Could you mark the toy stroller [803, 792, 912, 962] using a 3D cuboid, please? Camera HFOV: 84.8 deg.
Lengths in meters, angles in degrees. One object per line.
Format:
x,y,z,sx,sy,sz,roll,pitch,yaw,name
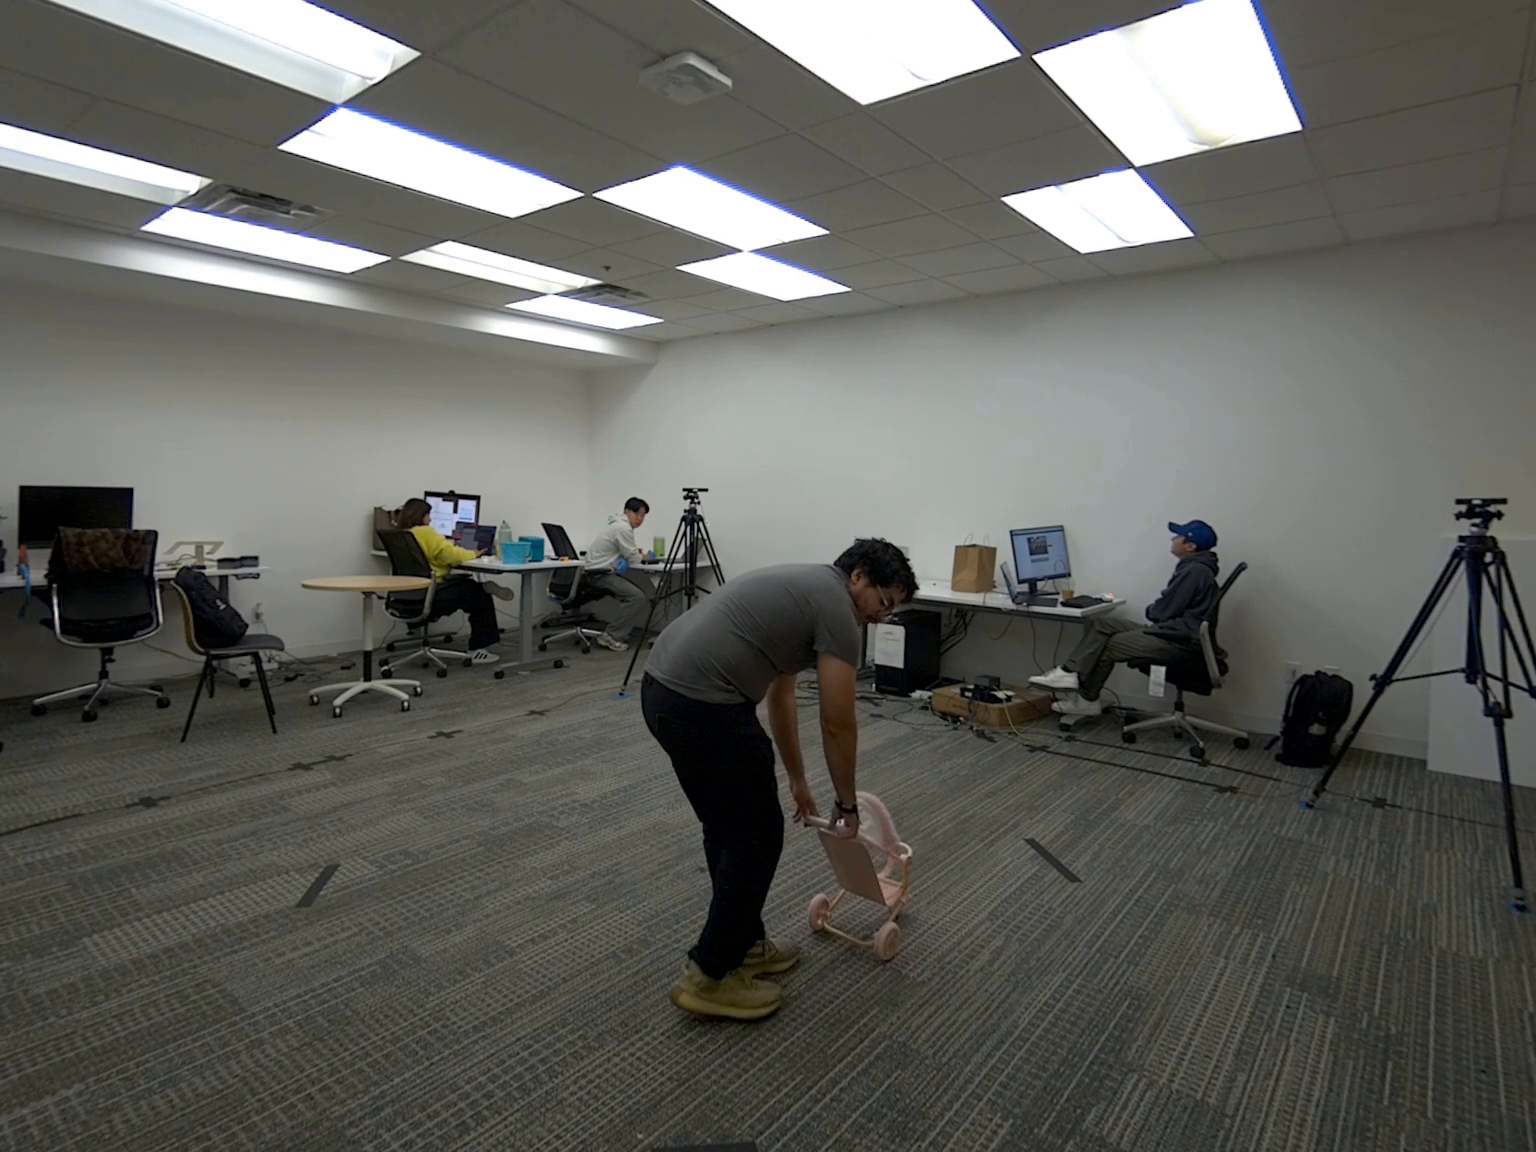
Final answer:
0.296,0.901,2.651,0.291,0.526,0.335,5,22,44,toy stroller
